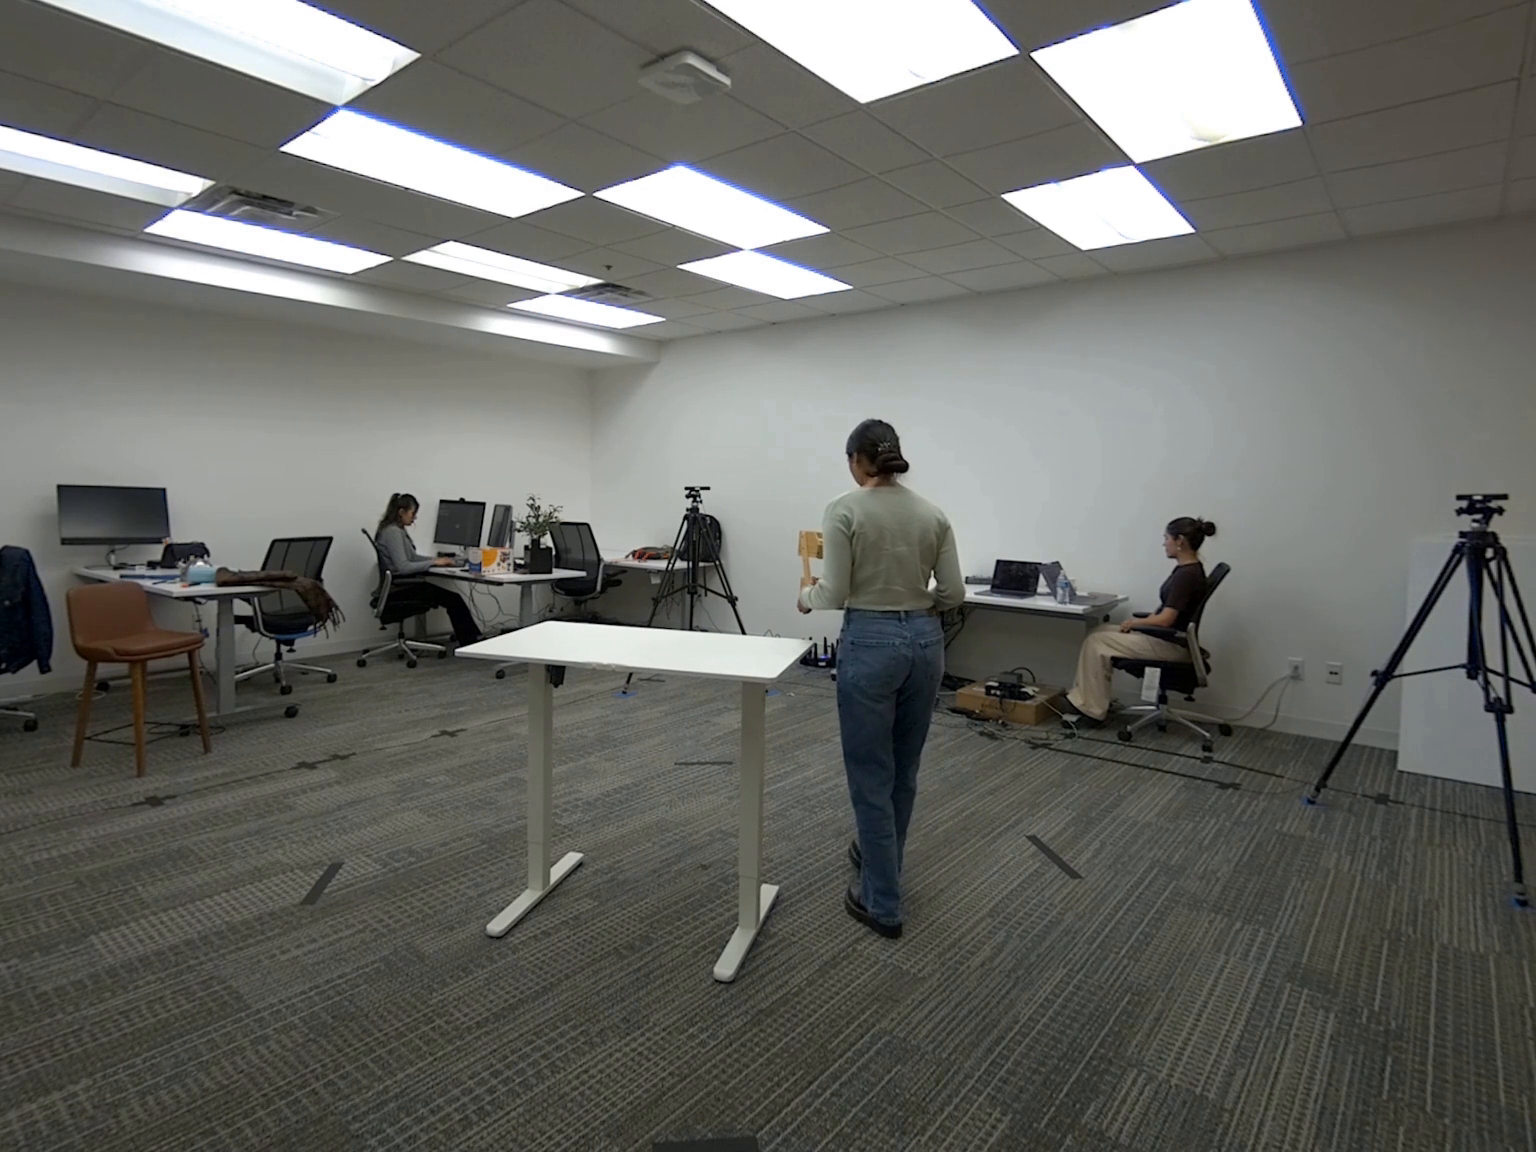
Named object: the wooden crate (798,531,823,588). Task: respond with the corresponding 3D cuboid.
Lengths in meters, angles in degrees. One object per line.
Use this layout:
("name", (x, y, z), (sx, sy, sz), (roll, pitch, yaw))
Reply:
("wooden crate", (0.289, -0.026, 3.021), (0.320, 0.273, 0.306), (3, 1, -14))
